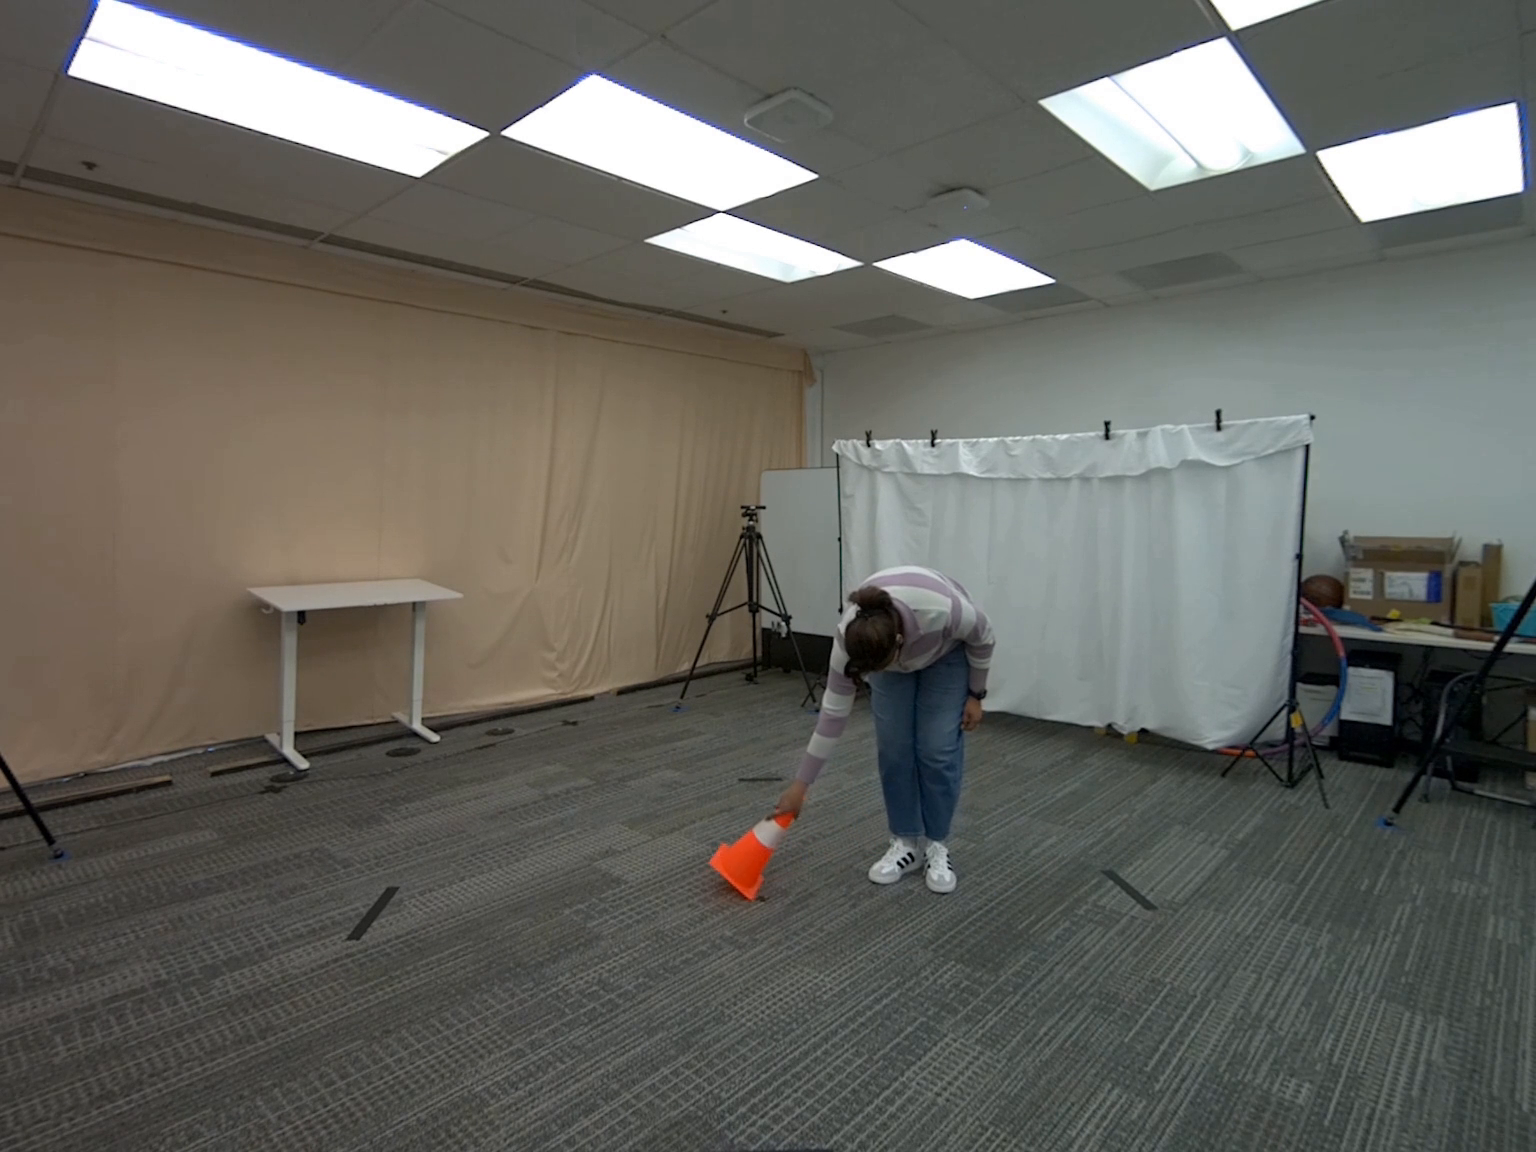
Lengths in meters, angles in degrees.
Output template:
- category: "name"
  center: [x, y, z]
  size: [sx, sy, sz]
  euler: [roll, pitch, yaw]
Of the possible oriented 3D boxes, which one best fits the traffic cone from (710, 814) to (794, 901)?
- category: "traffic cone"
  center: [0.001, 0.929, 3.049]
  size: [0.207, 0.384, 0.201]
  euler: [36, 10, 8]
